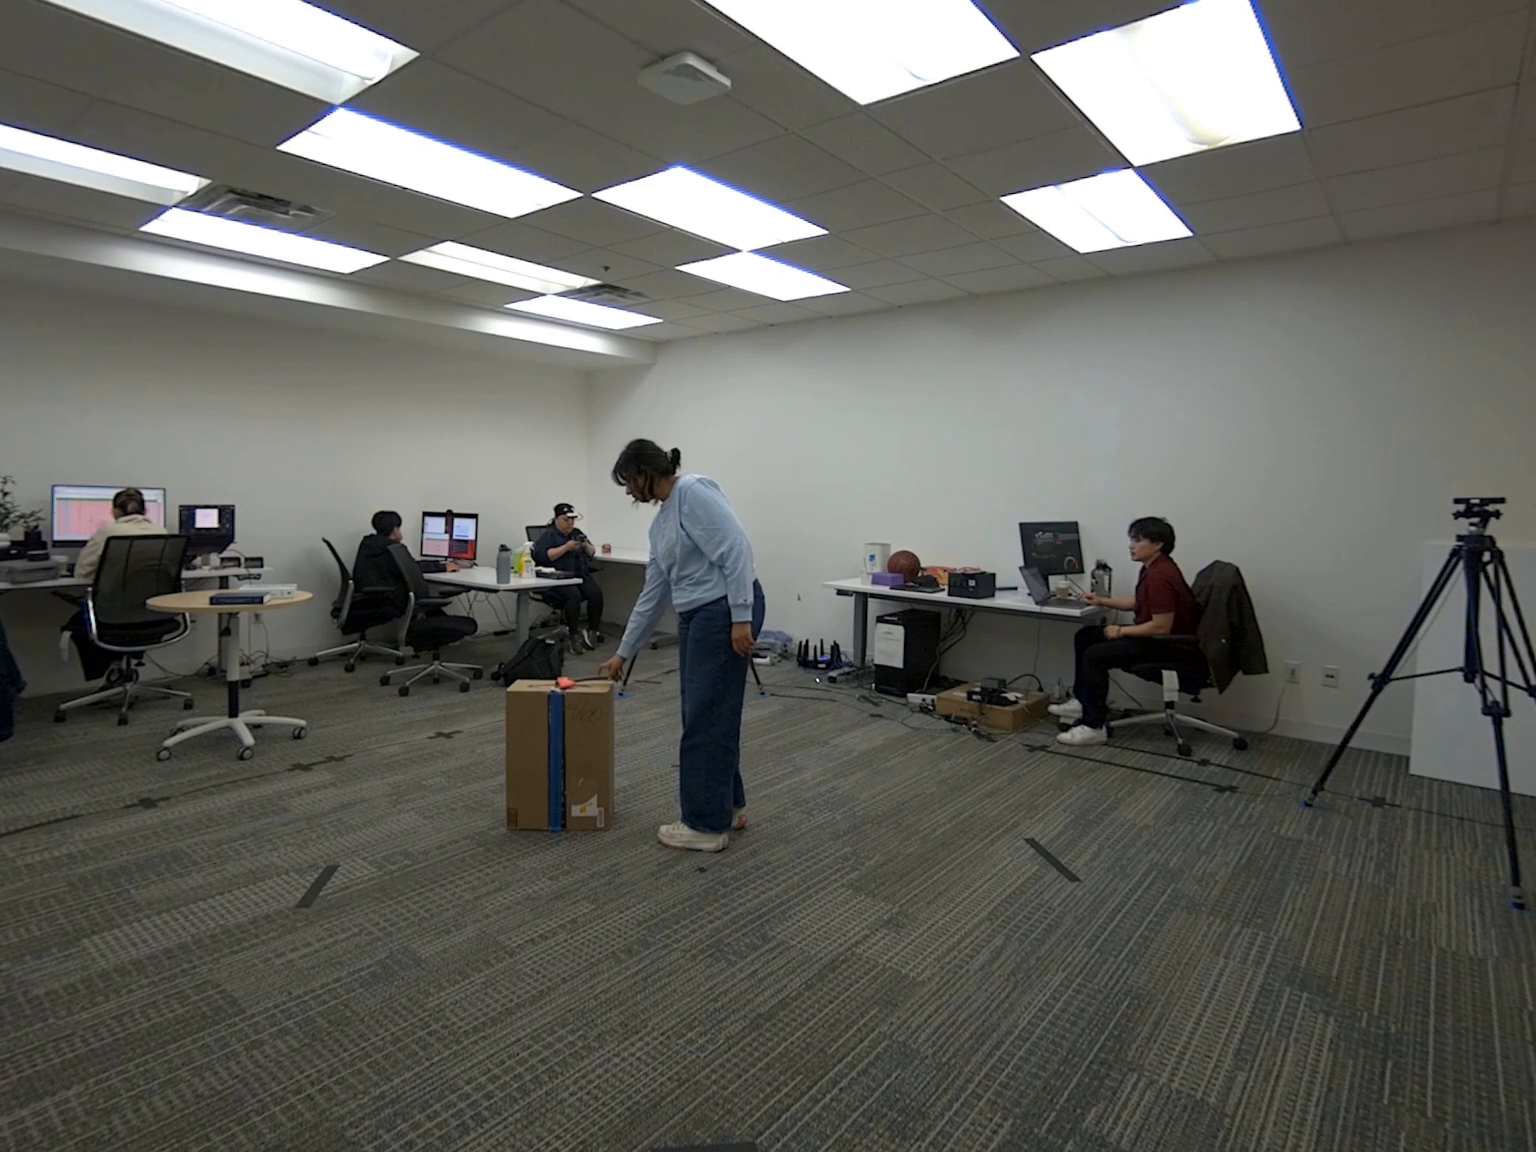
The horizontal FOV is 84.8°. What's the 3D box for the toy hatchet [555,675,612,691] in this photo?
[{"bbox_3d":[-0.764,0.437,3.531,0.272,0.029,0.131,-3,7,6],"label":"toy hatchet"}]
